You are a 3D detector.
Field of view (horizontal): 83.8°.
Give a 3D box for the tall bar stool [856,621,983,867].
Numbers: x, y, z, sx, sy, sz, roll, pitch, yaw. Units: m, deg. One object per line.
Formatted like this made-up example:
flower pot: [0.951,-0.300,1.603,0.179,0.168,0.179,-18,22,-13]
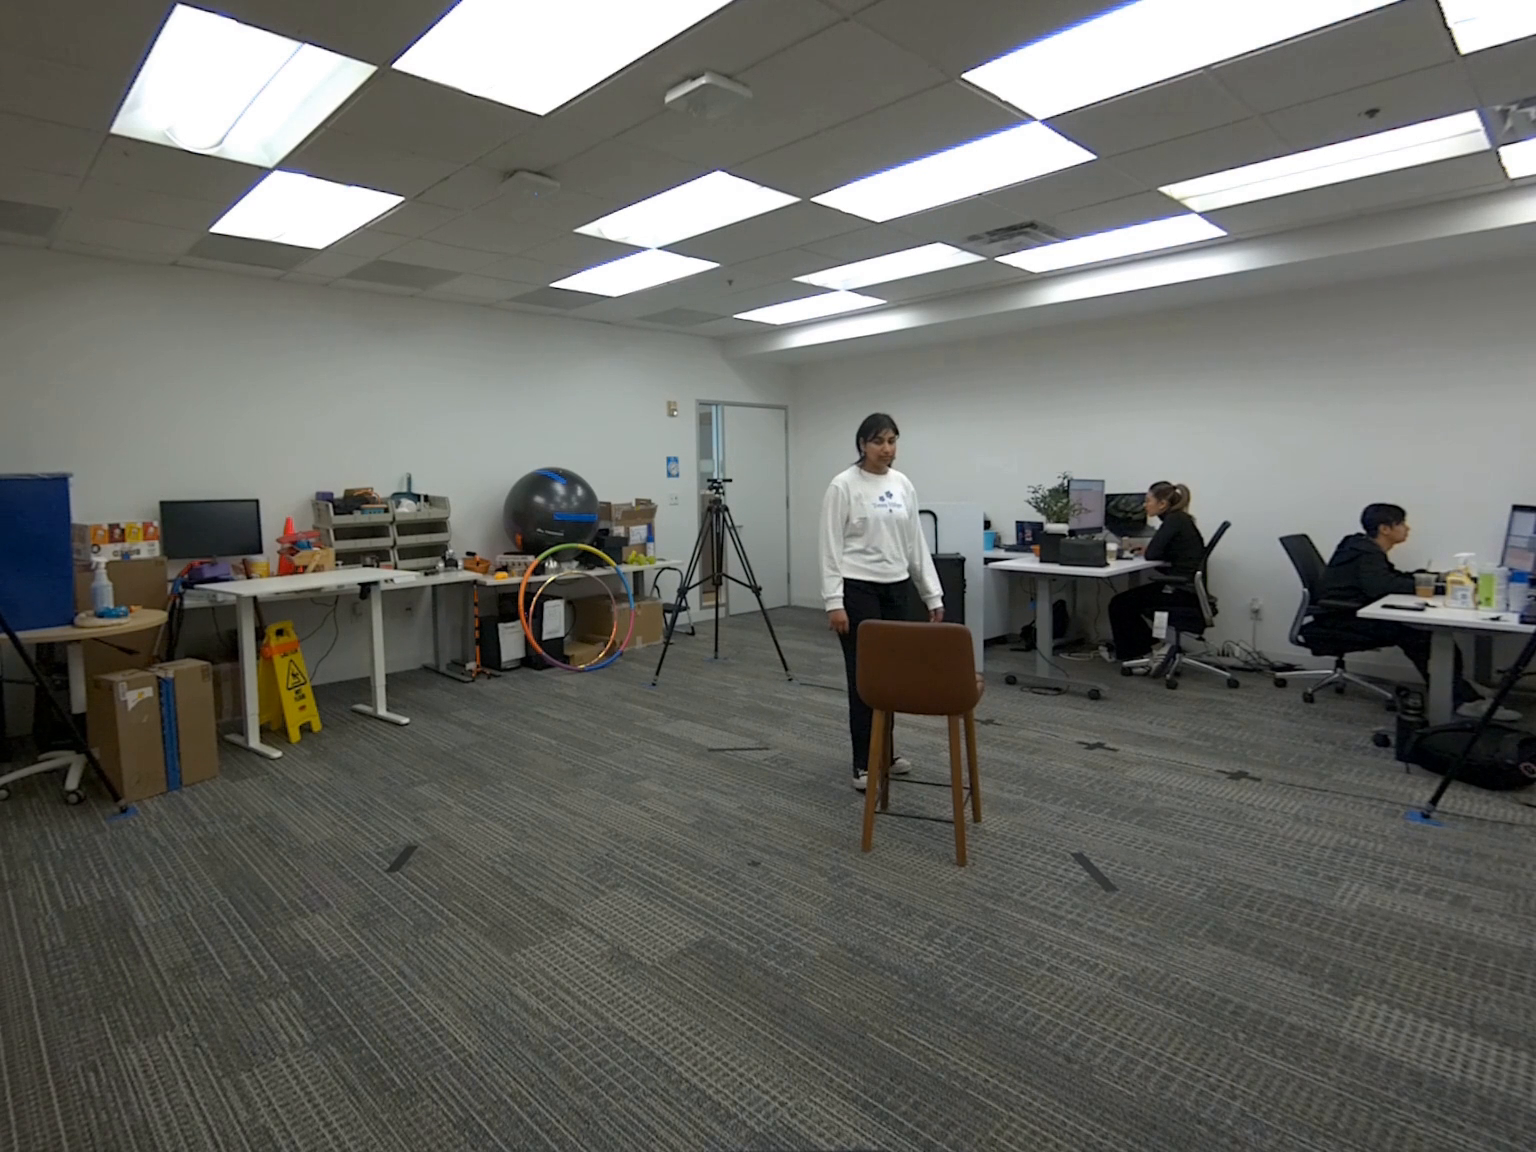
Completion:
tall bar stool: [0.591,0.580,3.305,0.466,0.886,0.460,1,6,22]
